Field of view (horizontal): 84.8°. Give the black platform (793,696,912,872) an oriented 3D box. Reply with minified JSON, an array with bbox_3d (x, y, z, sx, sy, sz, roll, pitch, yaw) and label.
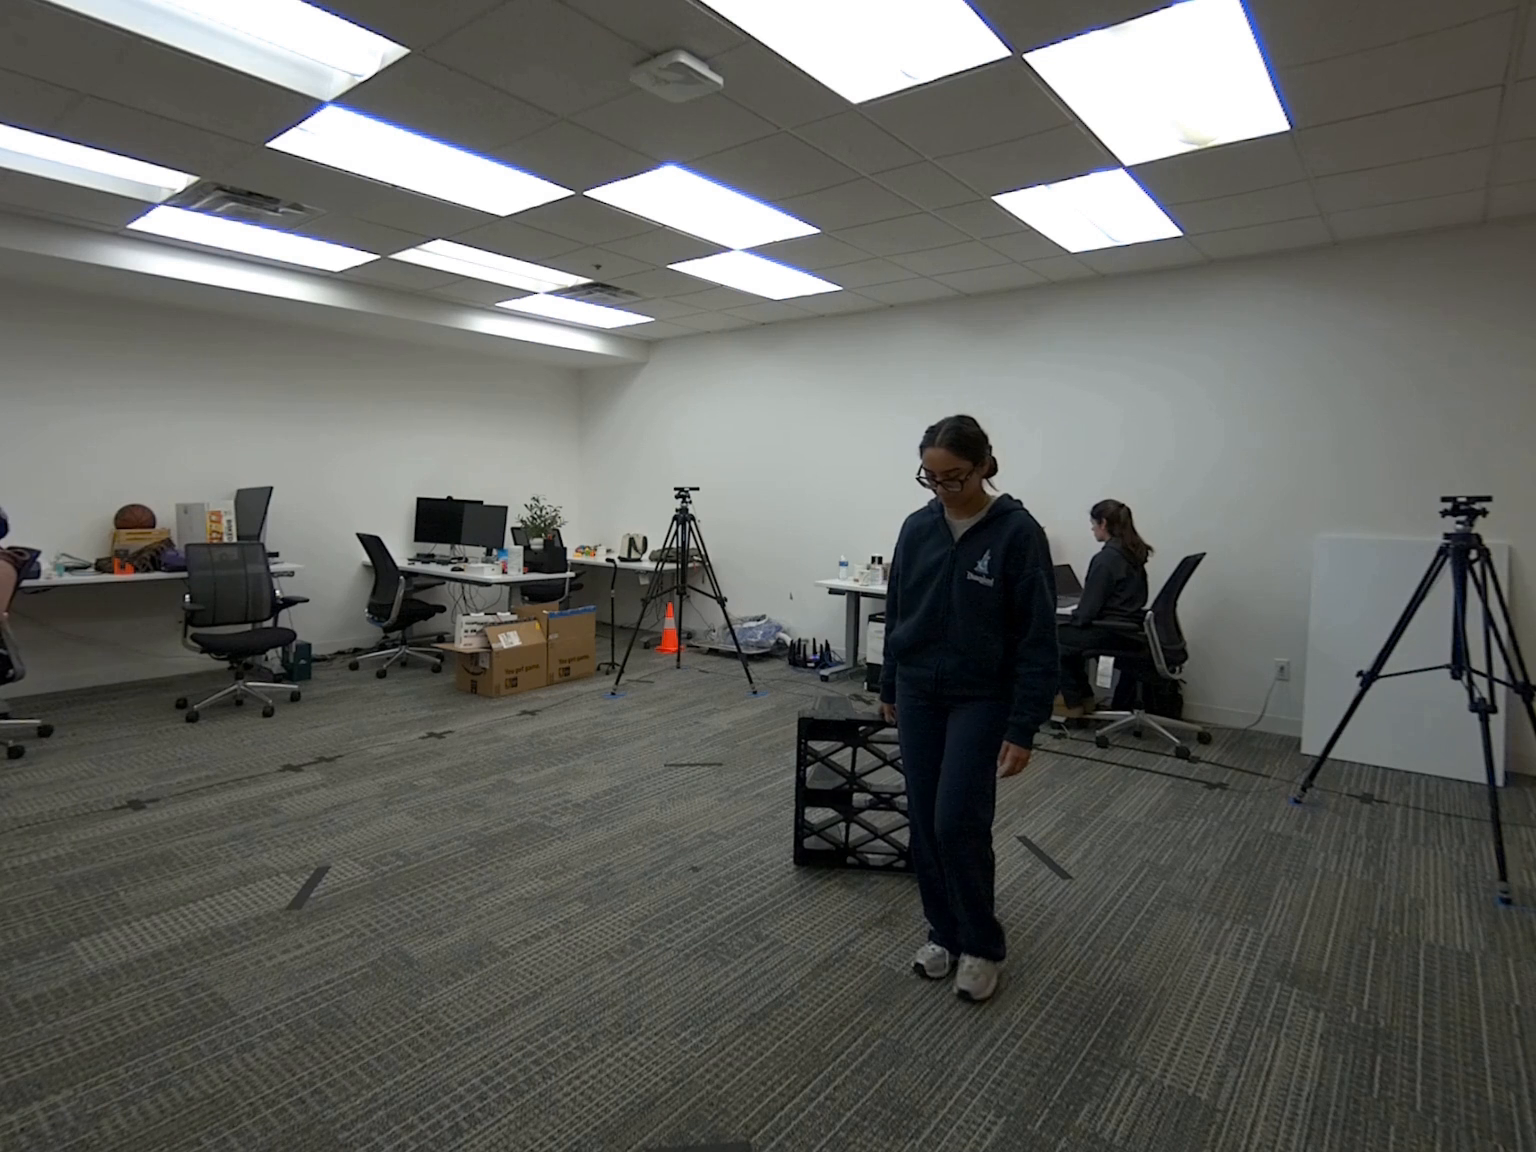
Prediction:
[{"bbox_3d":[0.387,0.731,2.935,0.609,0.783,0.146,3,36,5],"label":"black platform"}]
